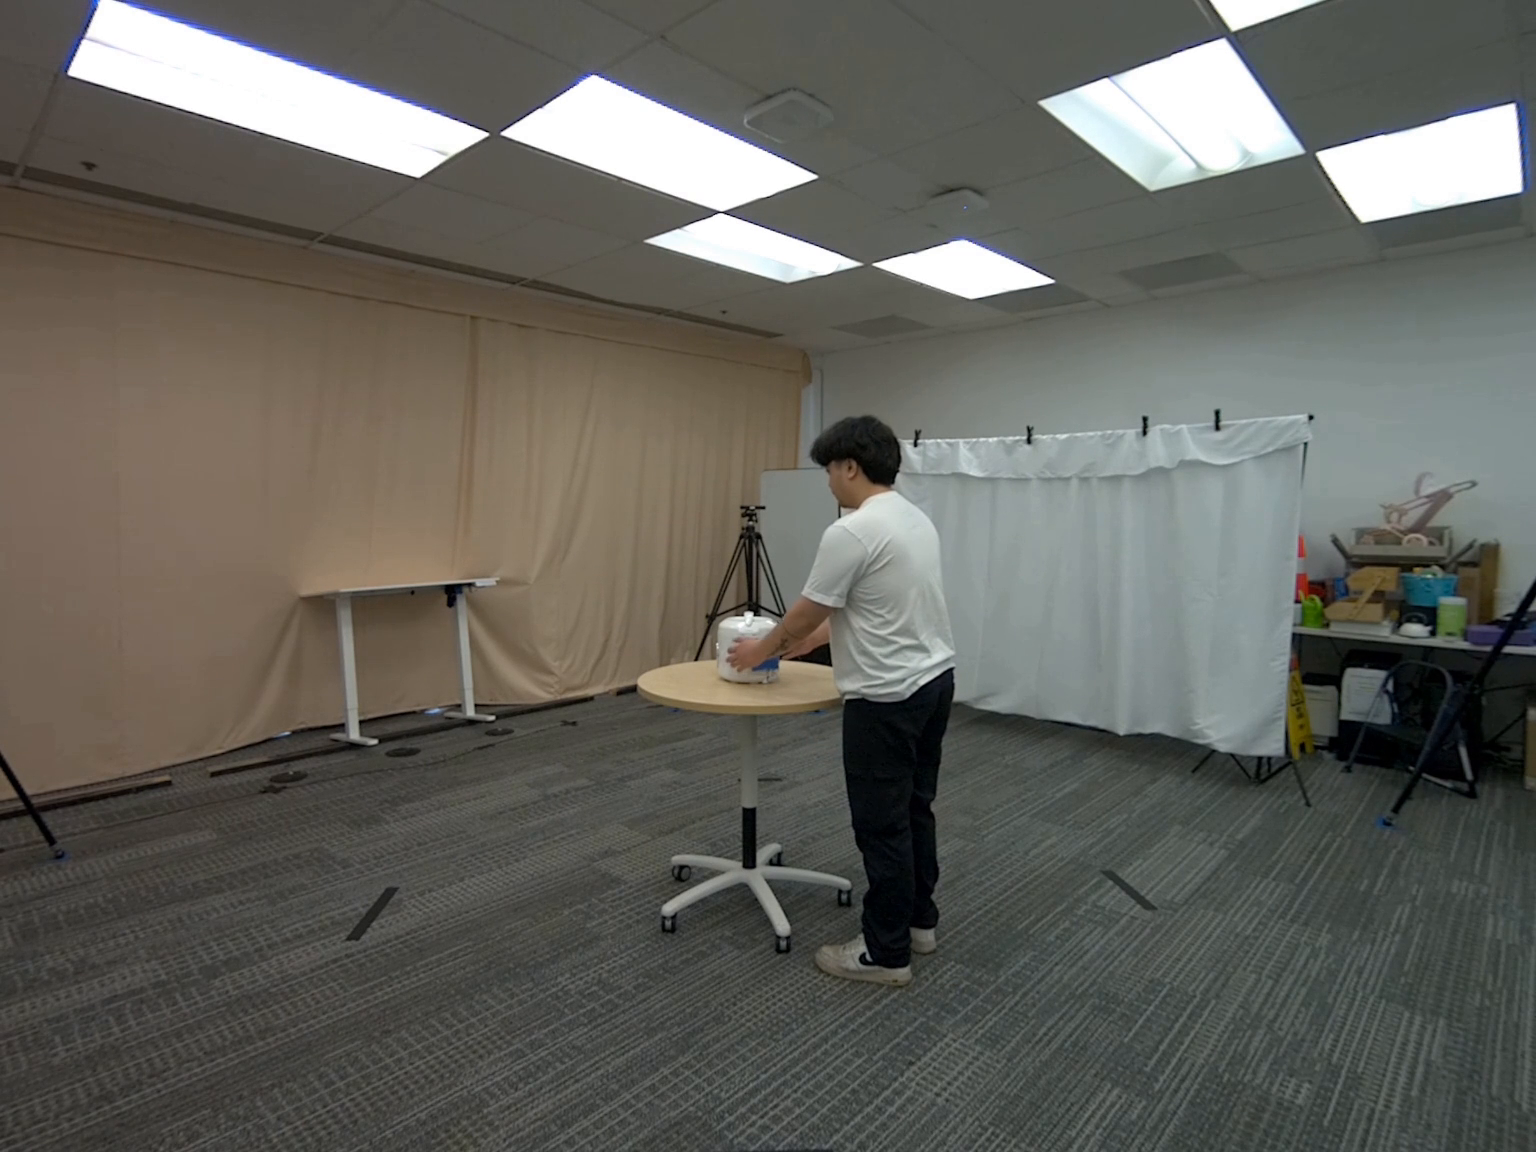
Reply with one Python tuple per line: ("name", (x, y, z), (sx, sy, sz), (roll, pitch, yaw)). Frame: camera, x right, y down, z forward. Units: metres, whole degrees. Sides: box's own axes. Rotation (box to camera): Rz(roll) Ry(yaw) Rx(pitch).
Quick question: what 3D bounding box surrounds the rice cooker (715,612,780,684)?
("rice cooker", (-0.066, 0.239, 2.891), (0.218, 0.232, 0.221), (0, 3, 0))
